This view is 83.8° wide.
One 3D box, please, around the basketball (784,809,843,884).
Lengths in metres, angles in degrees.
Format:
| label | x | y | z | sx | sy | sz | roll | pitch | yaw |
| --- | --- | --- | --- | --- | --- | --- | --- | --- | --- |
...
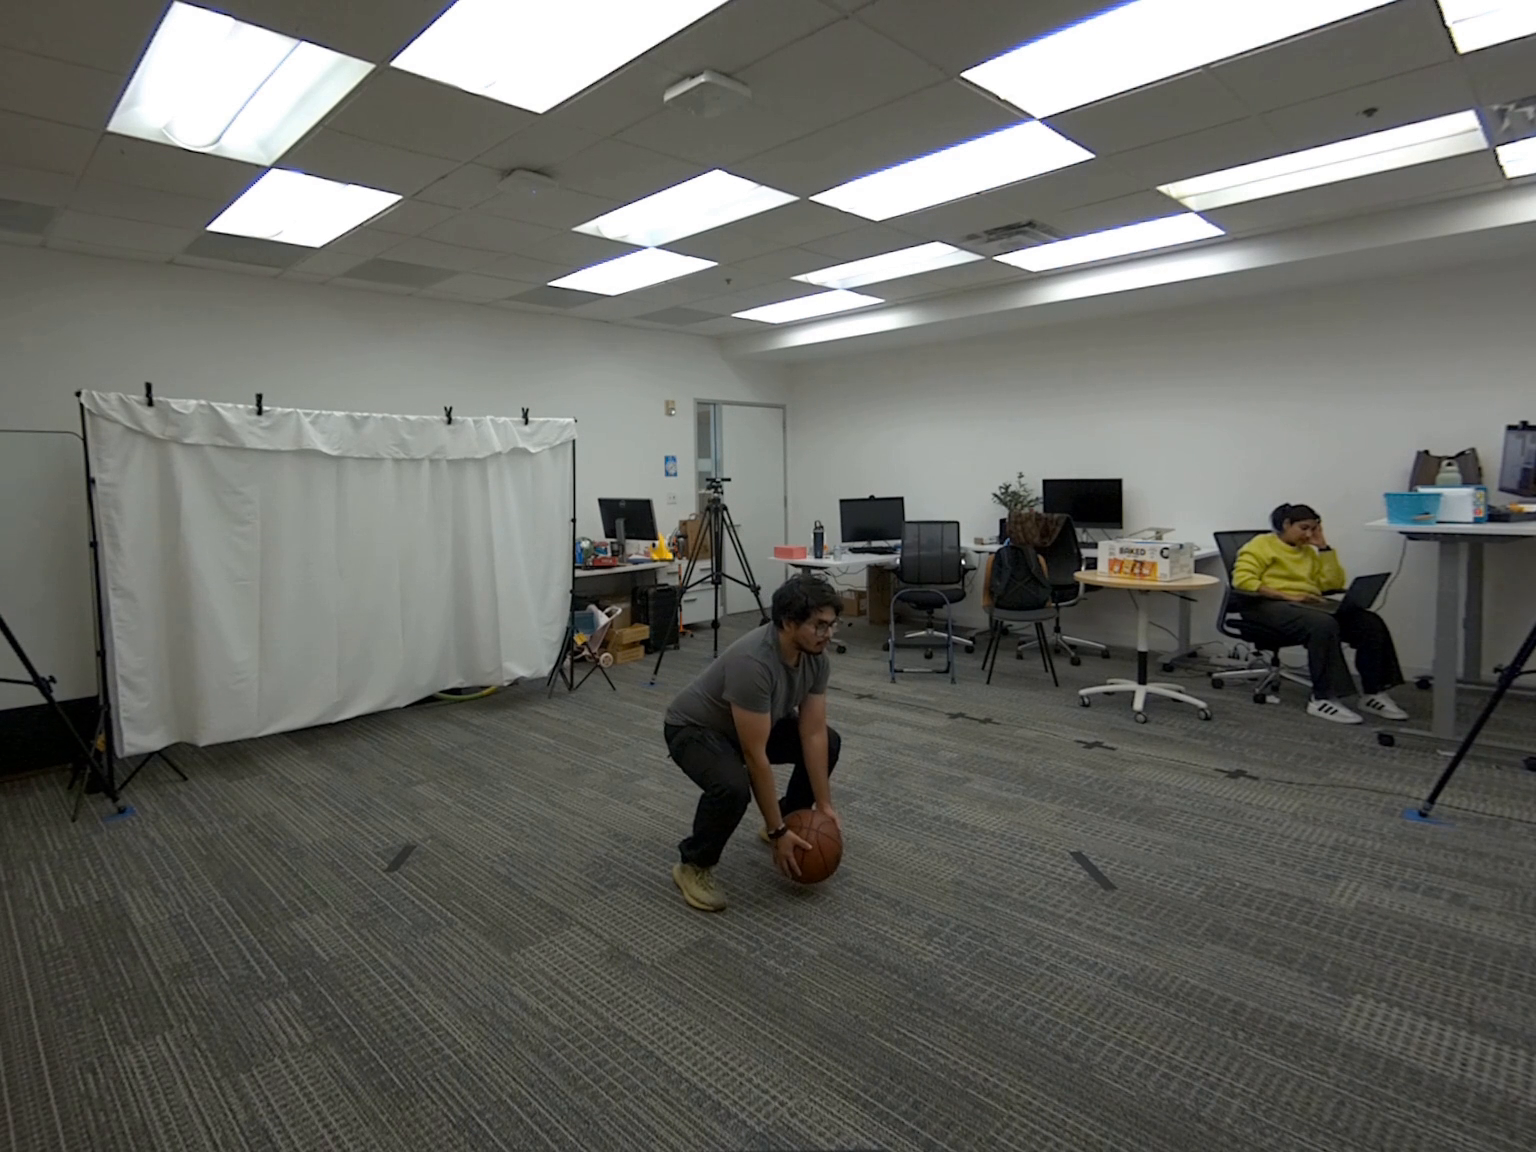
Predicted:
| label | x | y | z | sx | sy | sz | roll | pitch | yaw |
| --- | --- | --- | --- | --- | --- | --- | --- | --- | --- |
| basketball | 0.134 | 0.910 | 2.893 | 0.236 | 0.235 | 0.237 | -1 | 5 | -2 |
